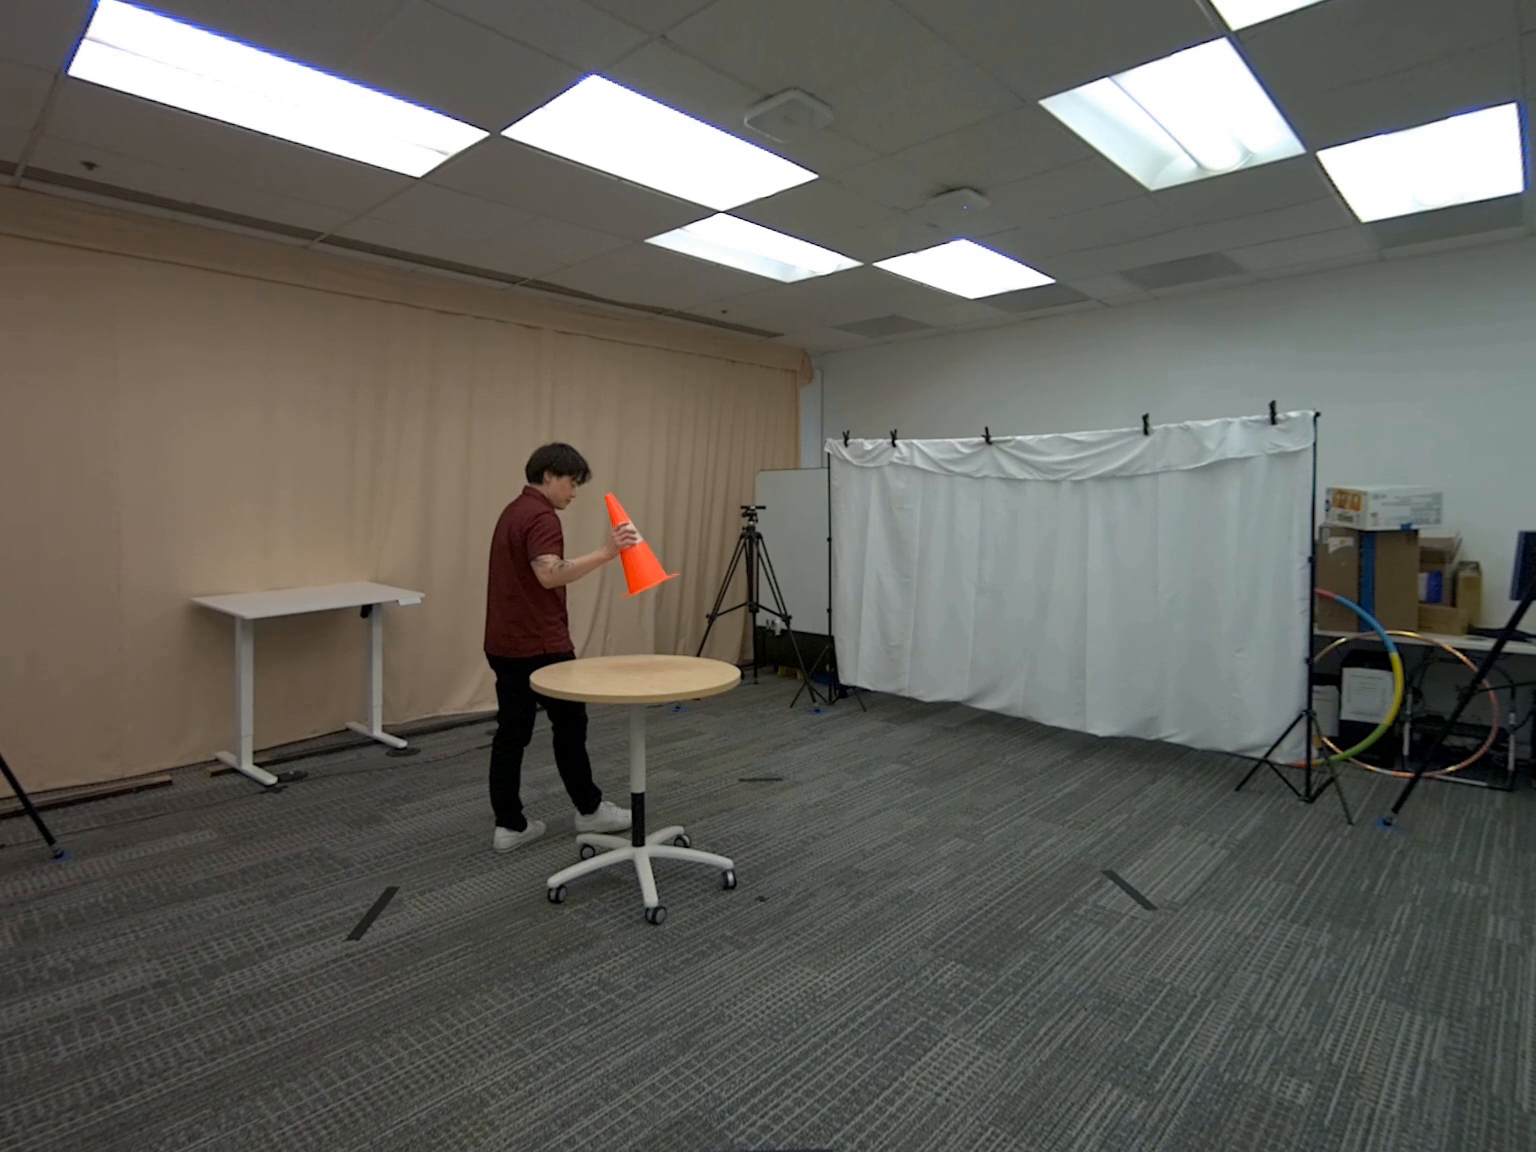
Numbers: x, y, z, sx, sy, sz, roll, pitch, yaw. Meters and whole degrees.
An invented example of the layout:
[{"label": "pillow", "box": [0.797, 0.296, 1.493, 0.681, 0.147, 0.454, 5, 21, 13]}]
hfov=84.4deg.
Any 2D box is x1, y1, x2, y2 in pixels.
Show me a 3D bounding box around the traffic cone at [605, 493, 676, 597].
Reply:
[{"label": "traffic cone", "box": [-0.531, -0.126, 3.207, 0.201, 0.382, 0.208, -22, 4, -14]}]
